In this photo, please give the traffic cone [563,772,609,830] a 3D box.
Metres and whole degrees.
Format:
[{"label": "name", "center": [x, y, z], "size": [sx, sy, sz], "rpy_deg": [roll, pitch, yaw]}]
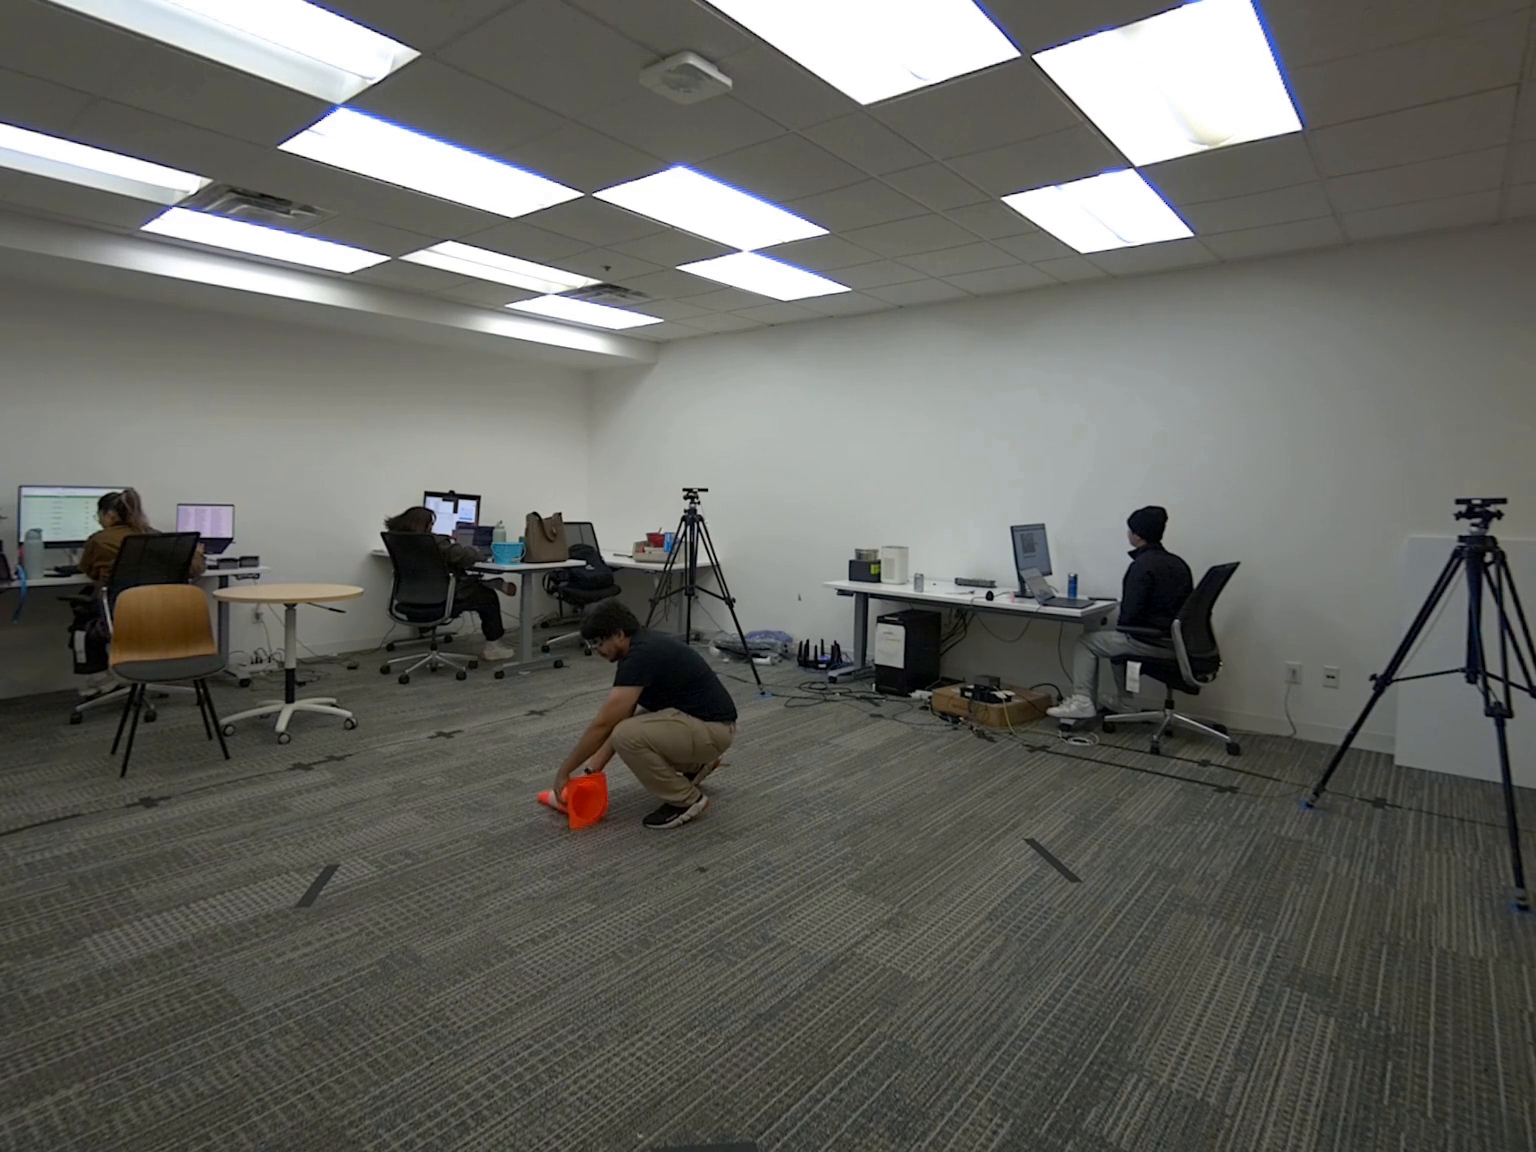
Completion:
[{"label": "traffic cone", "center": [-0.891, 0.956, 3.660], "size": [0.393, 0.205, 0.198], "rpy_deg": [-13, -10, 43]}]
